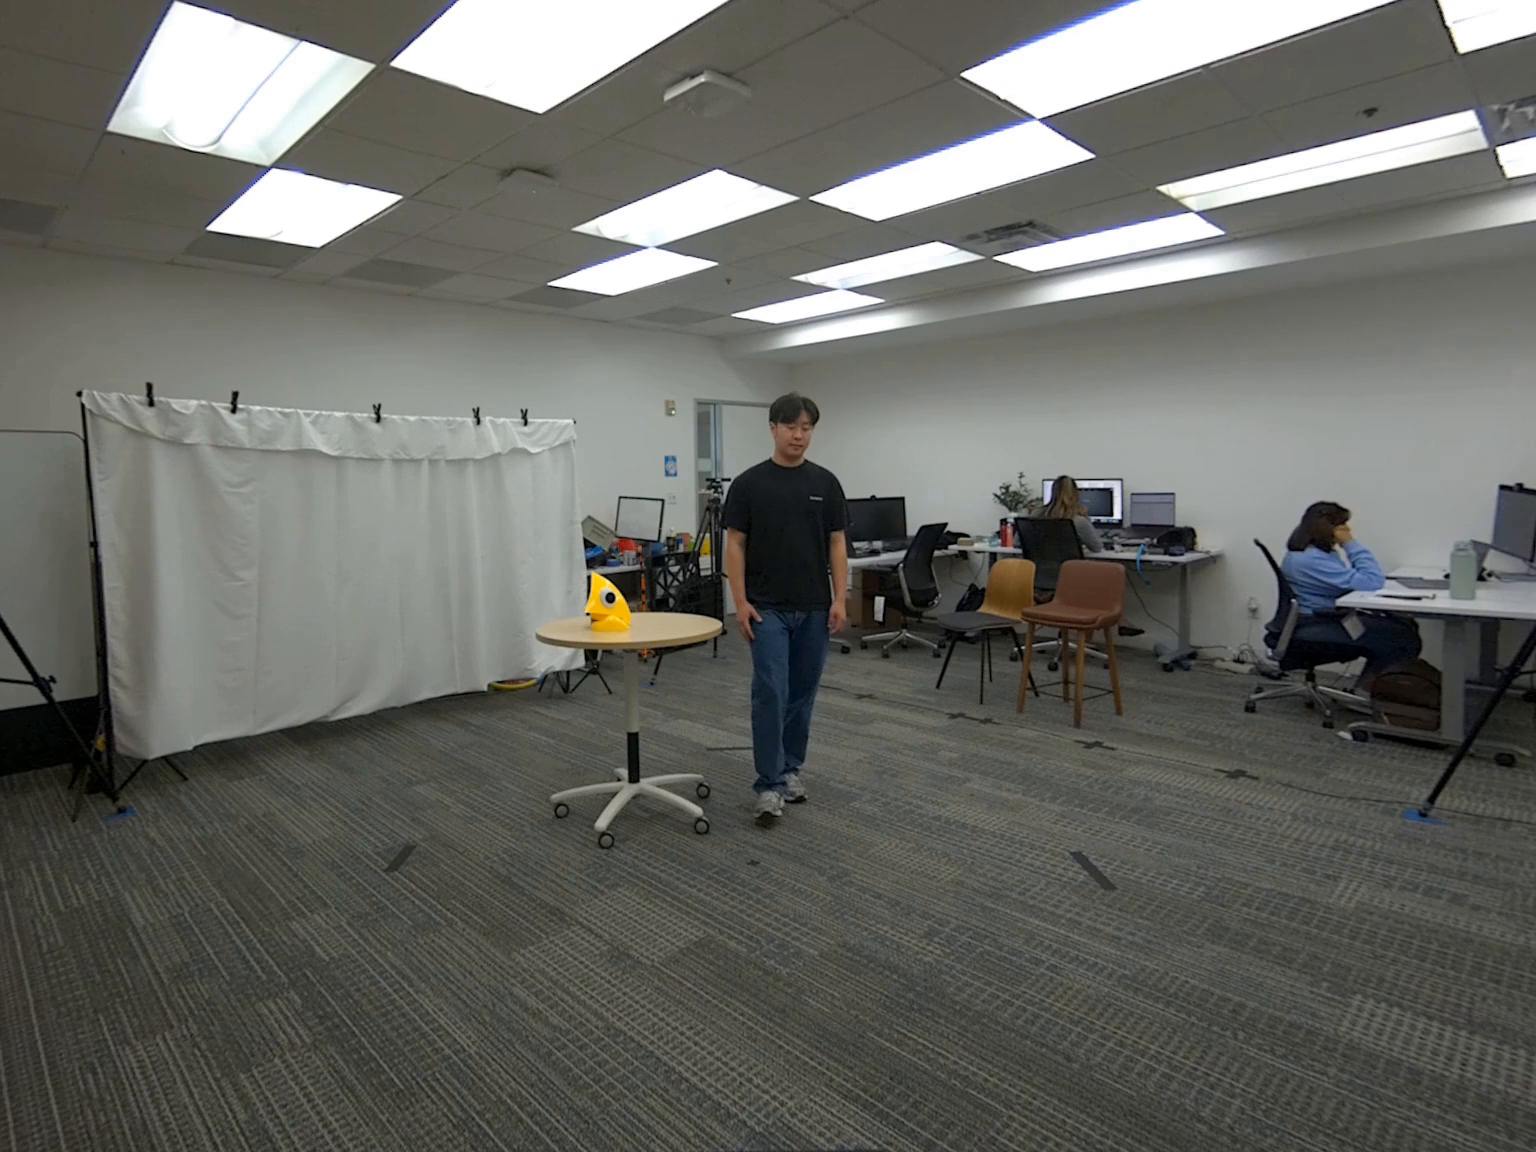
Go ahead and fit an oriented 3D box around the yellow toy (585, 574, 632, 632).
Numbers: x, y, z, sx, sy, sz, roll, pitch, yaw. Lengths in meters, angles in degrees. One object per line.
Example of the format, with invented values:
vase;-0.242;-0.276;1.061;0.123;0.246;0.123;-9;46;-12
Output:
yellow toy;-0.660;0.096;3.507;0.192;0.230;0.207;-3;4;-8
